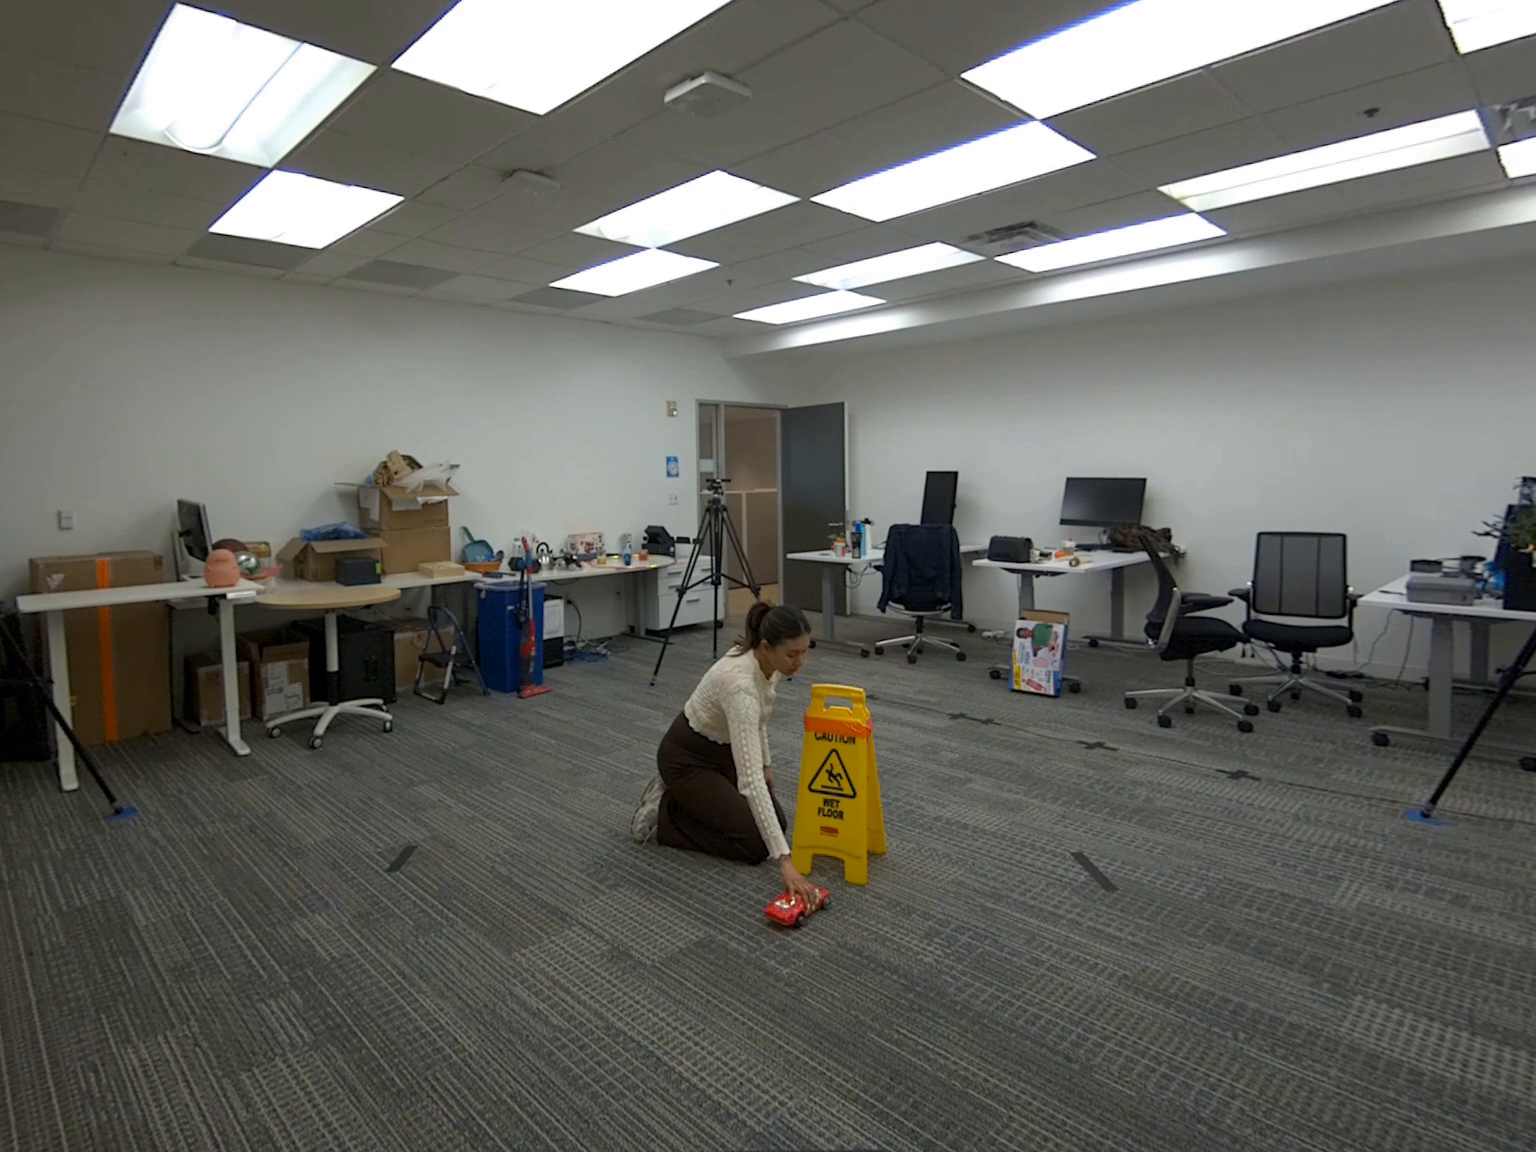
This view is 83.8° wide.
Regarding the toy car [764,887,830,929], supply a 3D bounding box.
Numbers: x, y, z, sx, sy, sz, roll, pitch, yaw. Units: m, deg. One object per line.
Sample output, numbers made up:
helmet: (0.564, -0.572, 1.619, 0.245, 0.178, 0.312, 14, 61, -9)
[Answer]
toy car: (0.089, 1.057, 2.734, 0.134, 0.083, 0.246, 3, -3, 39)
